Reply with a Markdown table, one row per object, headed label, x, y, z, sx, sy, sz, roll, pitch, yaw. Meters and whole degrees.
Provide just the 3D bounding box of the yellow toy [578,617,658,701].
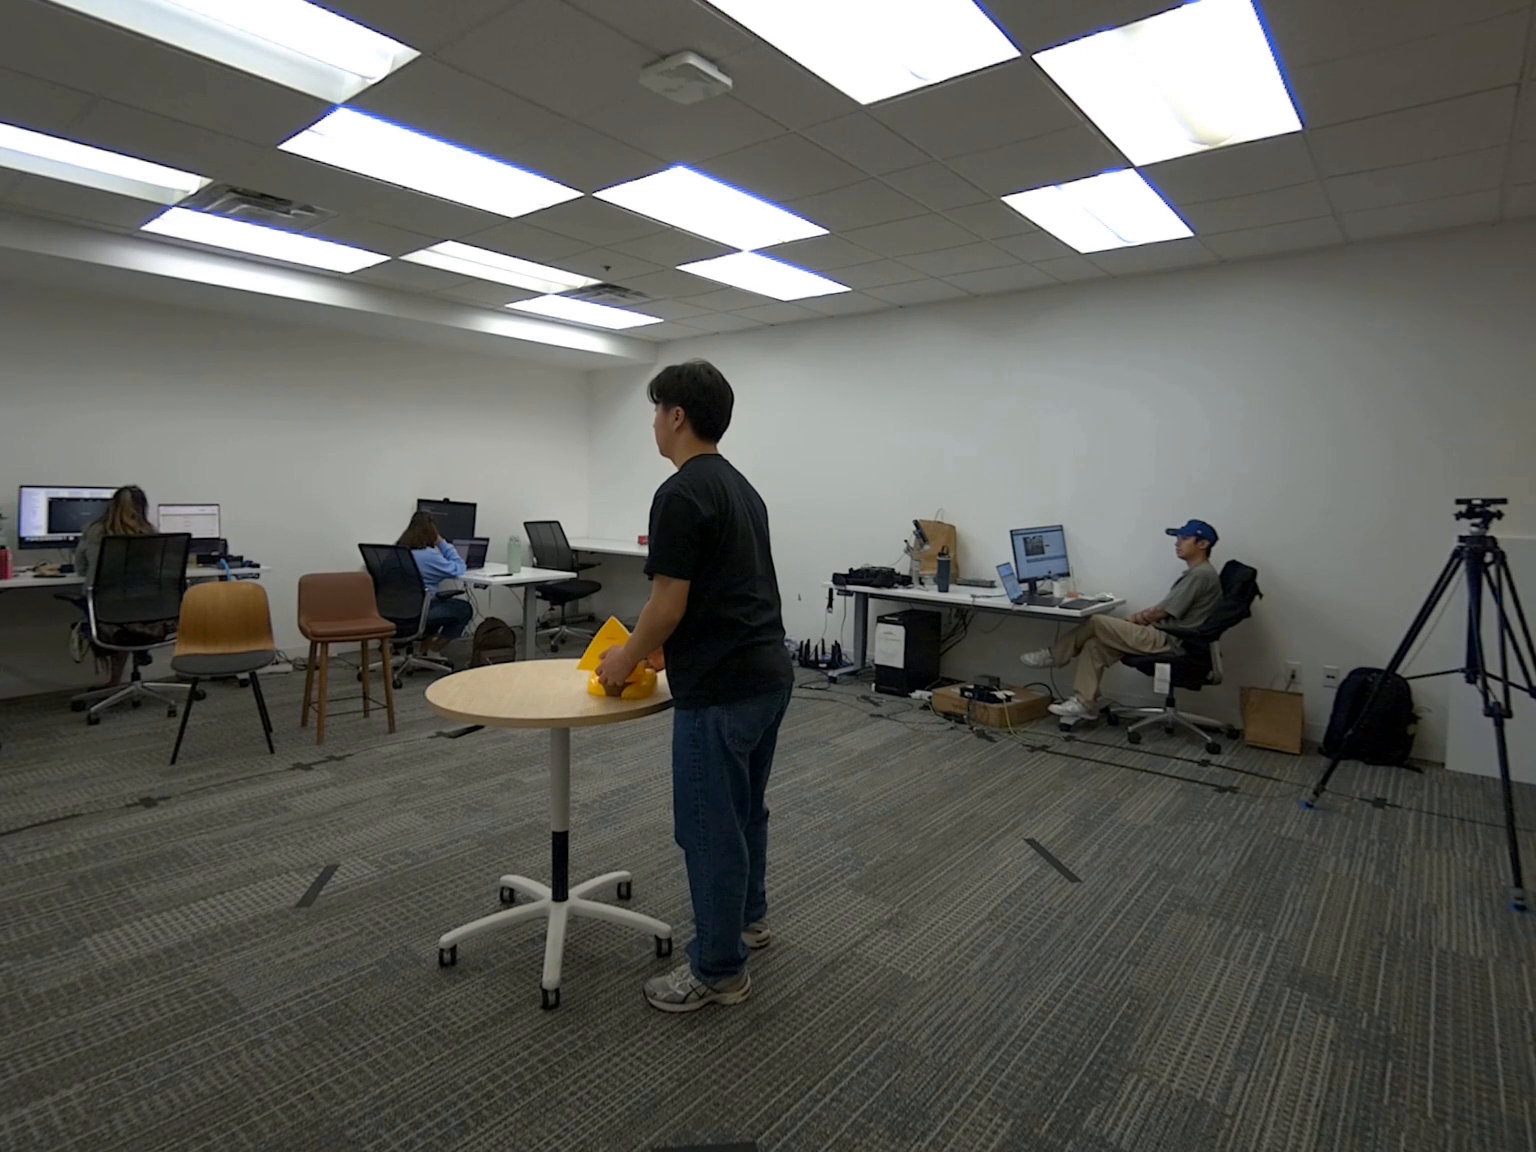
| label | x | y | z | sx | sy | sz | roll | pitch | yaw |
| --- | --- | --- | --- | --- | --- | --- | --- | --- | --- |
| yellow toy | -0.431 | 0.211 | 2.447 | 0.208 | 0.229 | 0.192 | 1 | 9 | 13 |
